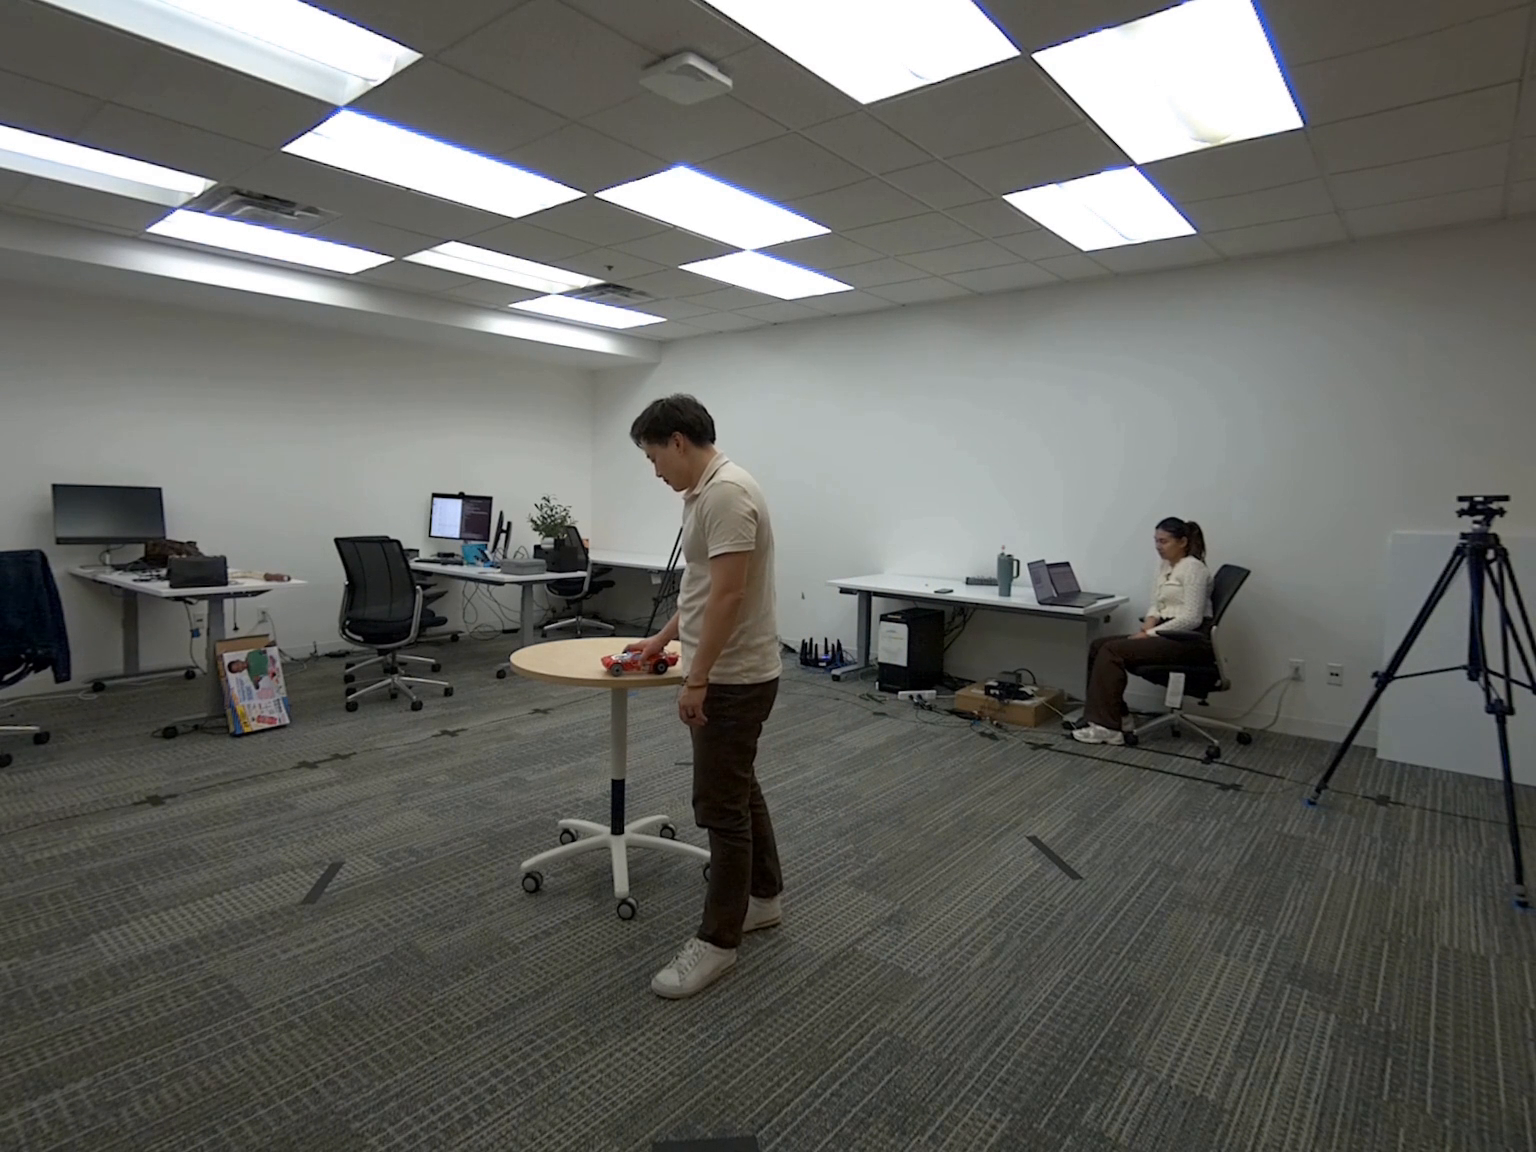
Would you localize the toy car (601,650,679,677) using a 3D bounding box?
[{"bbox_3d":[-0.416,0.281,2.777,0.251,0.082,0.133,-12,8,-18],"label":"toy car"}]
